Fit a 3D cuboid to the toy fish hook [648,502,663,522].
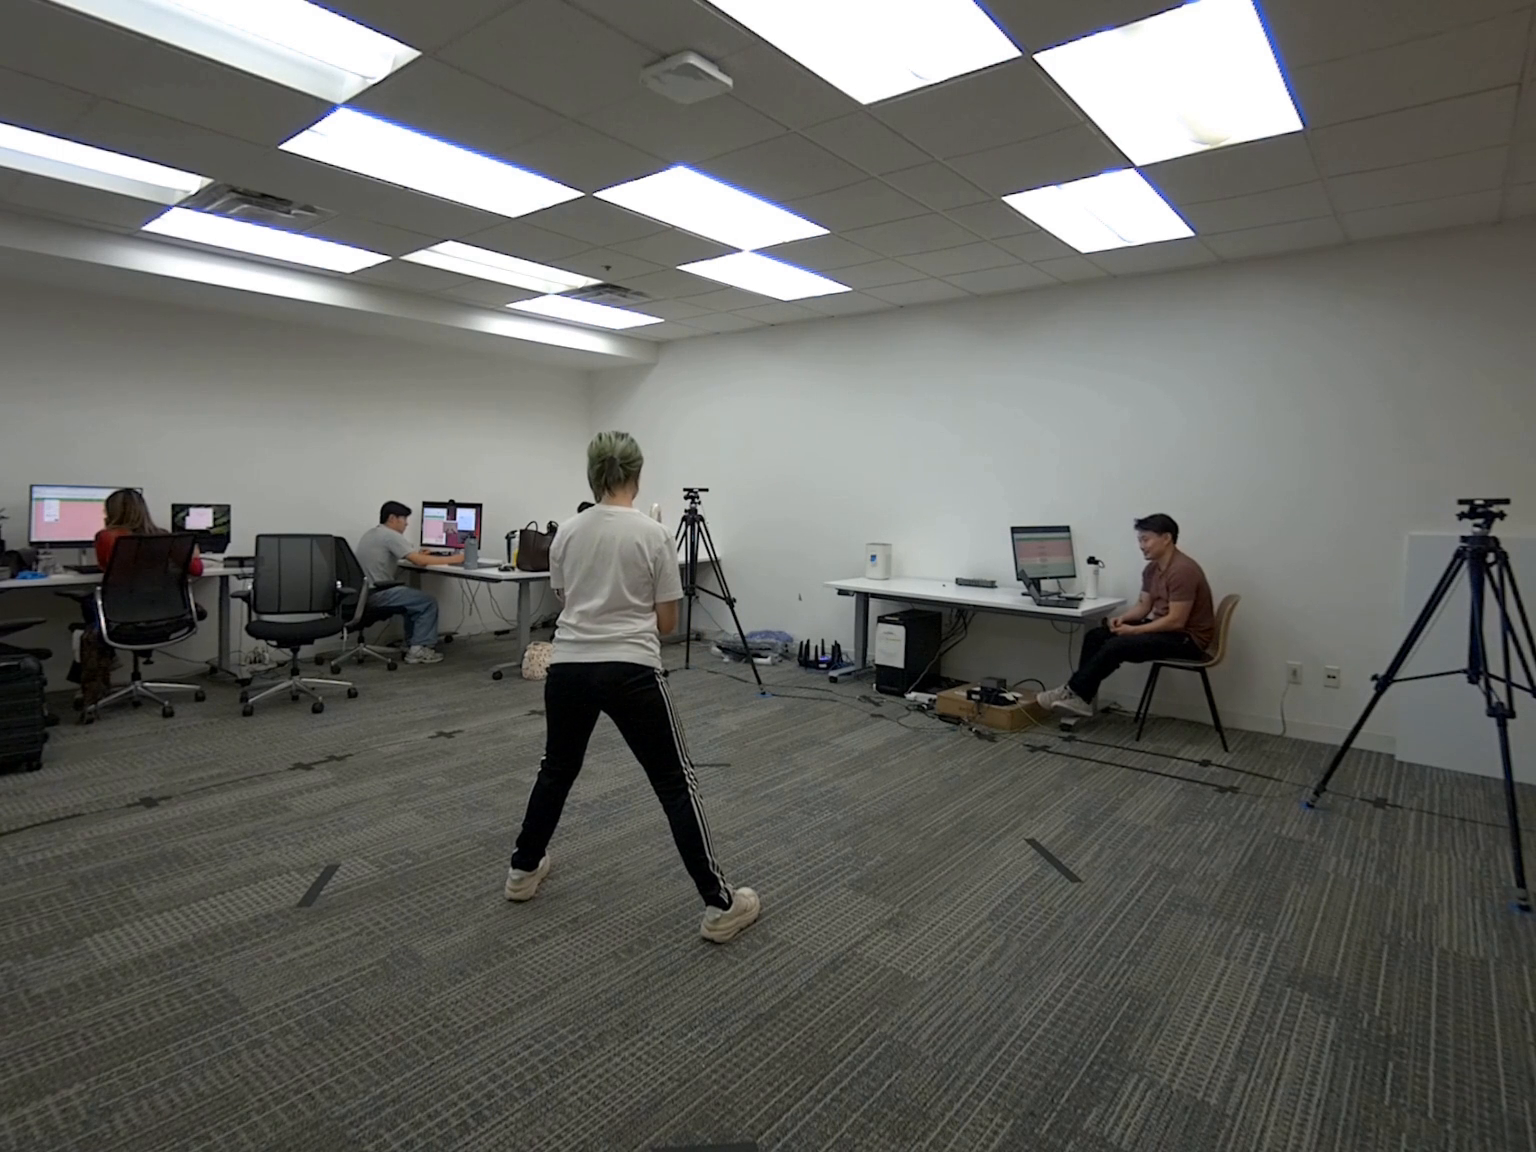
[{"bbox_3d":[-0.435,-0.026,3.180,0.048,0.516,0.220,2,-22,-1],"label":"toy fish hook"}]
